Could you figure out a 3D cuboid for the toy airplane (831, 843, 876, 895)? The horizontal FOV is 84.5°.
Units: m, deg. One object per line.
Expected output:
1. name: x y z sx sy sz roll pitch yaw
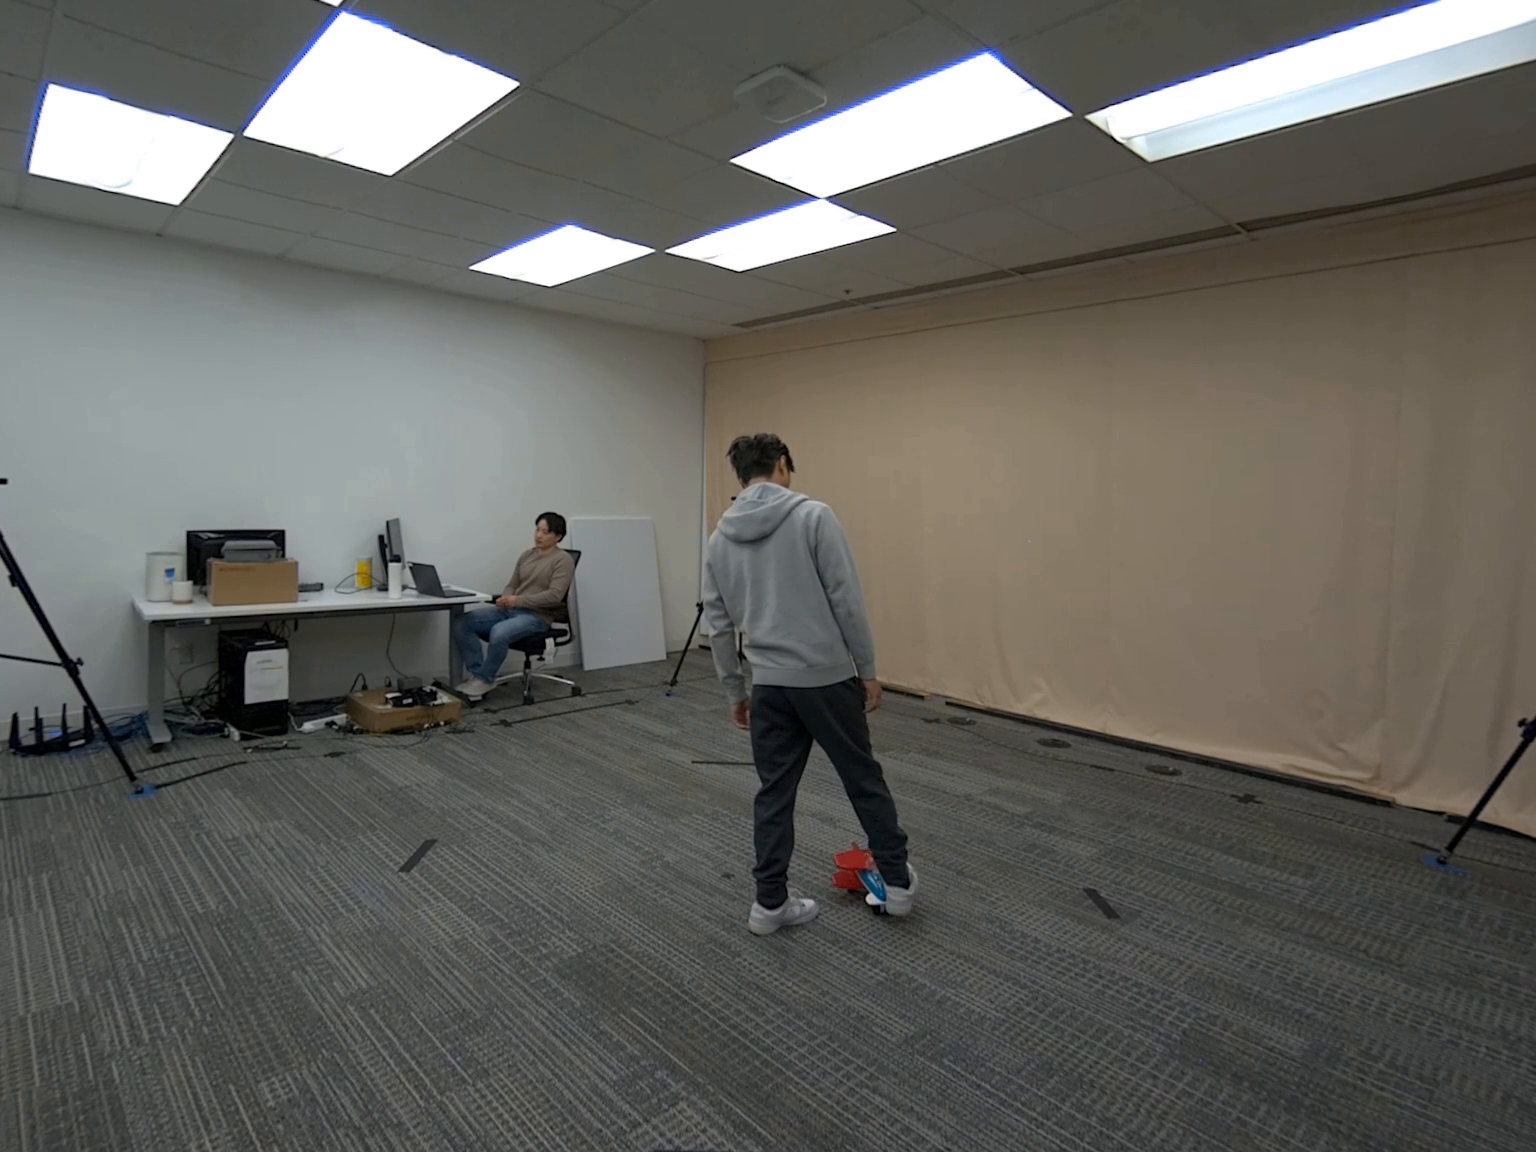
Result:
1. toy airplane: 0.372 1.062 2.934 0.245 0.156 0.266 -1 5 -40
